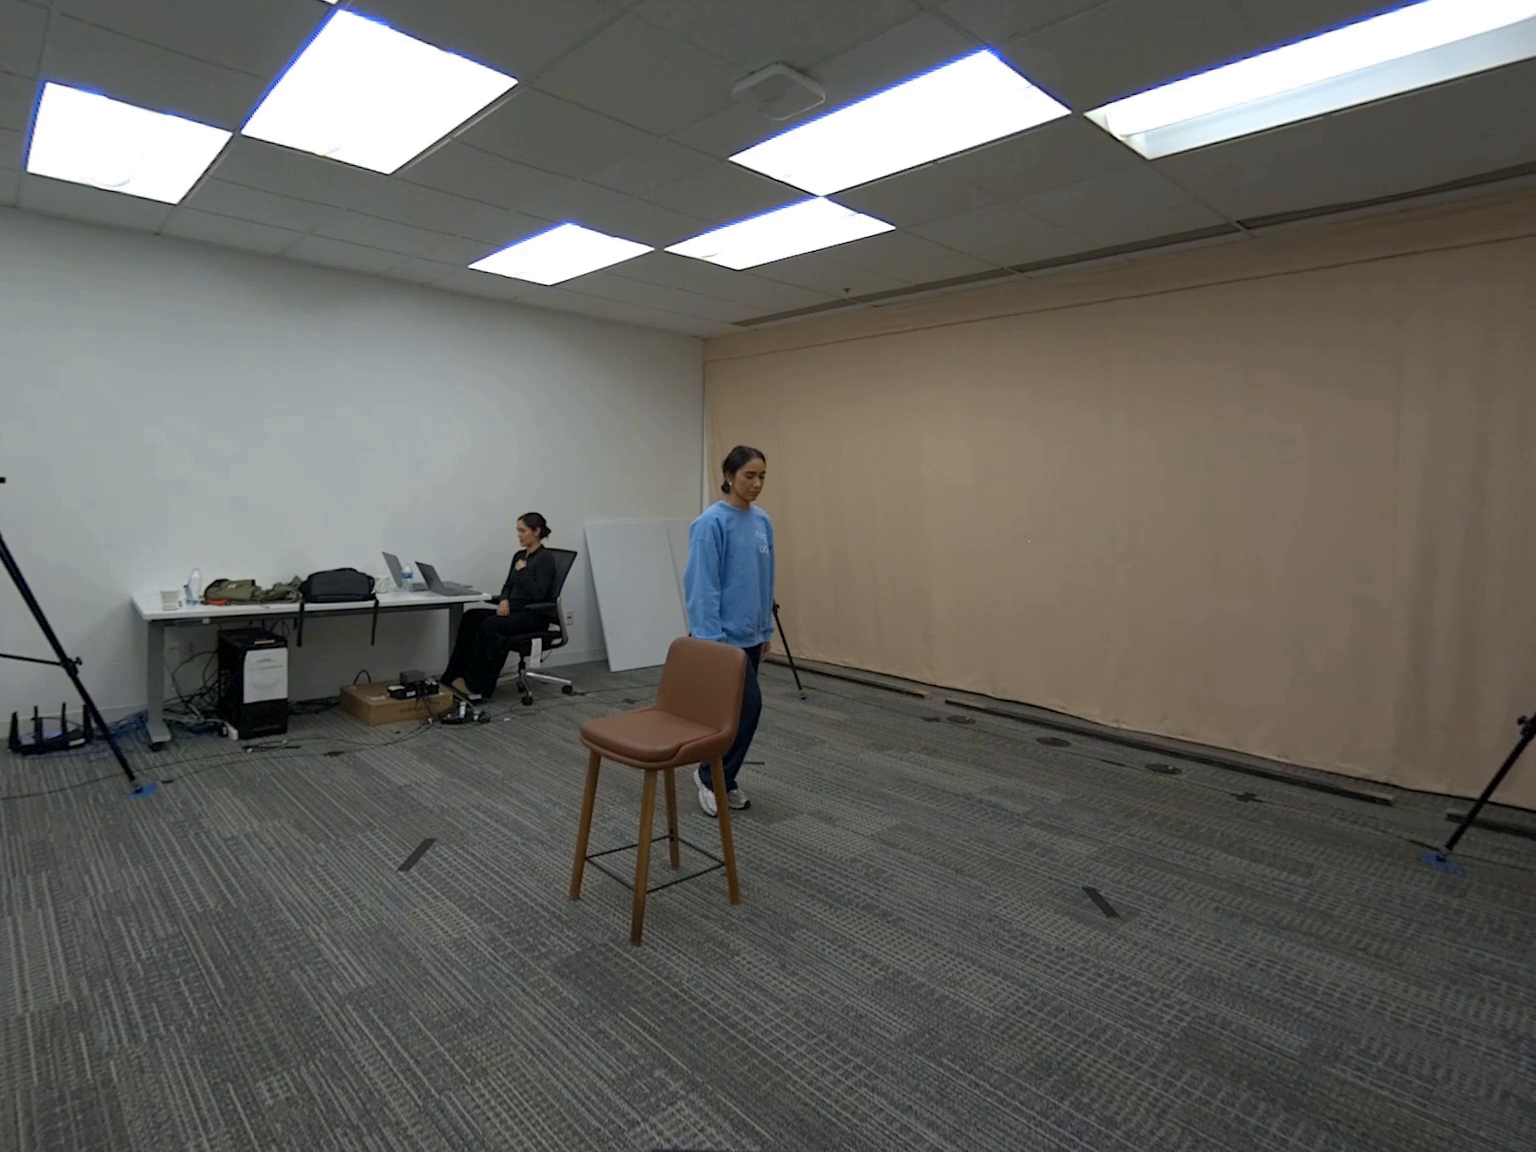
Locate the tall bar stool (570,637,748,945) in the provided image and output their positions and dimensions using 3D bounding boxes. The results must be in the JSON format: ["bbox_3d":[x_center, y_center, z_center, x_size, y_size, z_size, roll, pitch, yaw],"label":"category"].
[{"bbox_3d":[-0.376,0.685,2.865,0.456,0.888,0.468,1,3,-41],"label":"tall bar stool"}]
